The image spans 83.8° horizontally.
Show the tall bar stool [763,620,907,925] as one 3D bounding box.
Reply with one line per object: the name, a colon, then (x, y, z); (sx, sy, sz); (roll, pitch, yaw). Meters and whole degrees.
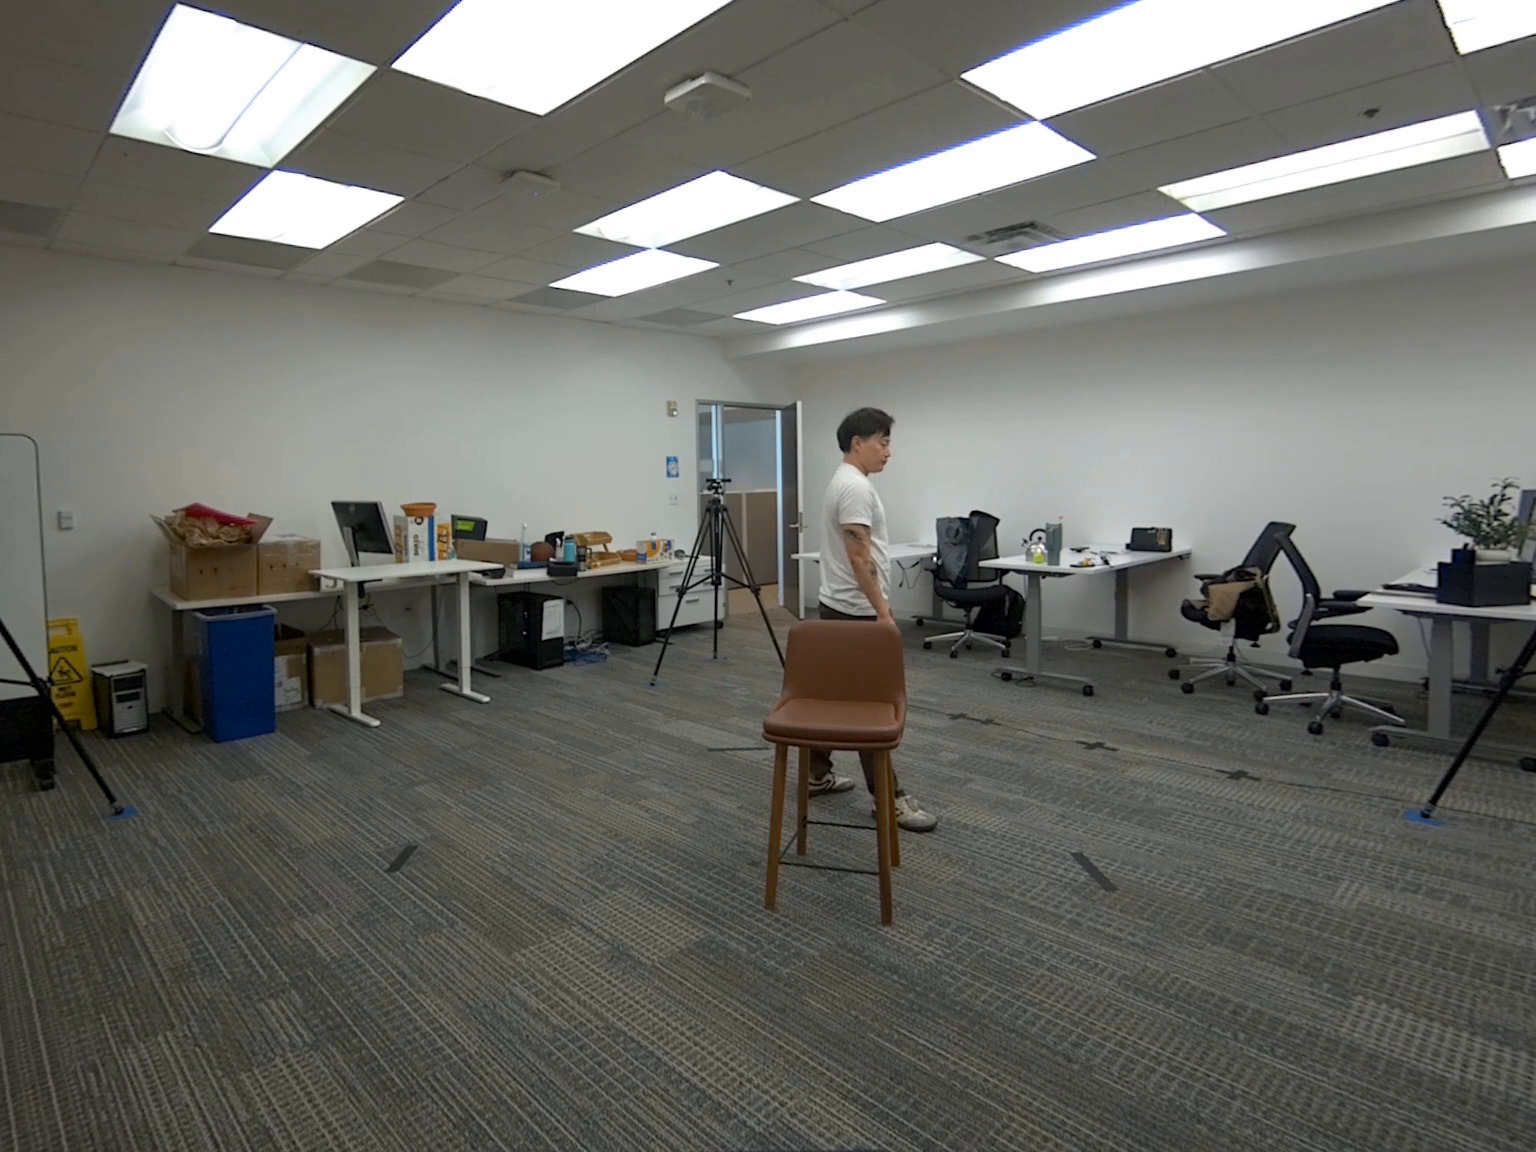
tall bar stool: (0.239, 0.628, 2.906); (0.464, 0.888, 0.461); (1, 3, 17)
